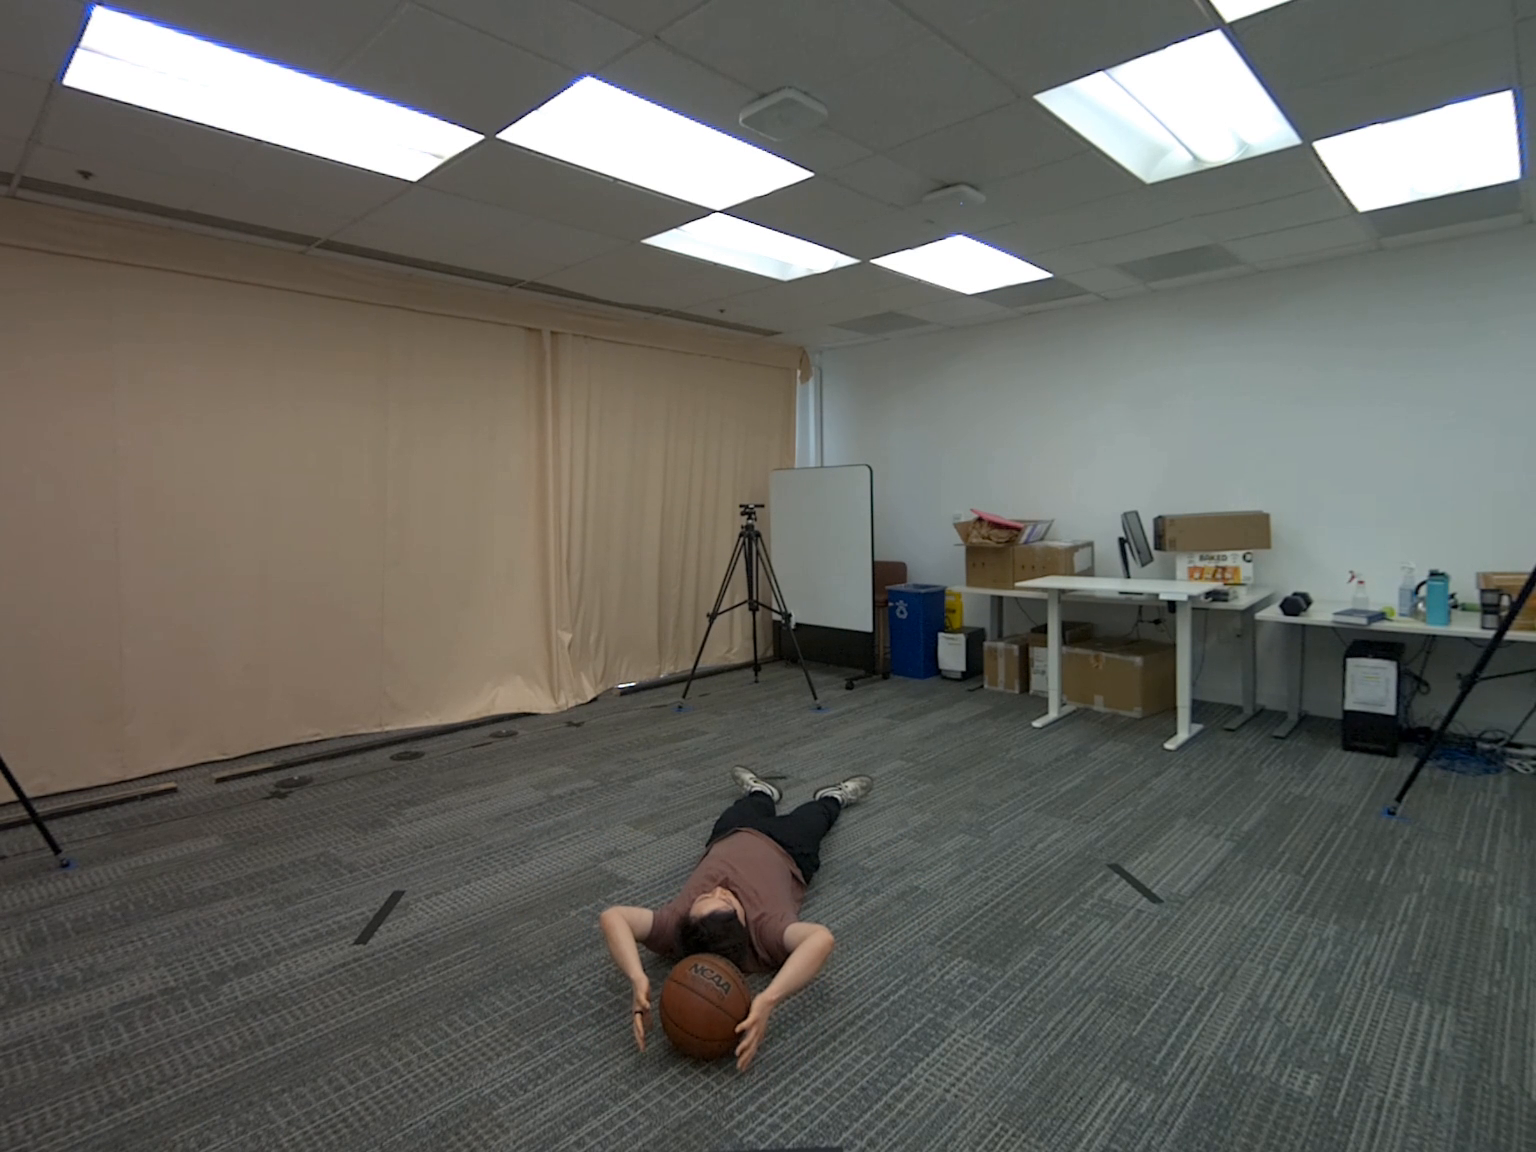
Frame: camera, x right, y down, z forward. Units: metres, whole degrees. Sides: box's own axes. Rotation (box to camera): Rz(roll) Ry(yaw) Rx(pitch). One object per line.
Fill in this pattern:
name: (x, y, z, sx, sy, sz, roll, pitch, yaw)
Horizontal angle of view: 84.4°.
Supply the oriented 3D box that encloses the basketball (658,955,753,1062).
basketball: (-0.156, 1.095, 2.149, 0.235, 0.235, 0.237, 3, 5, -2)
